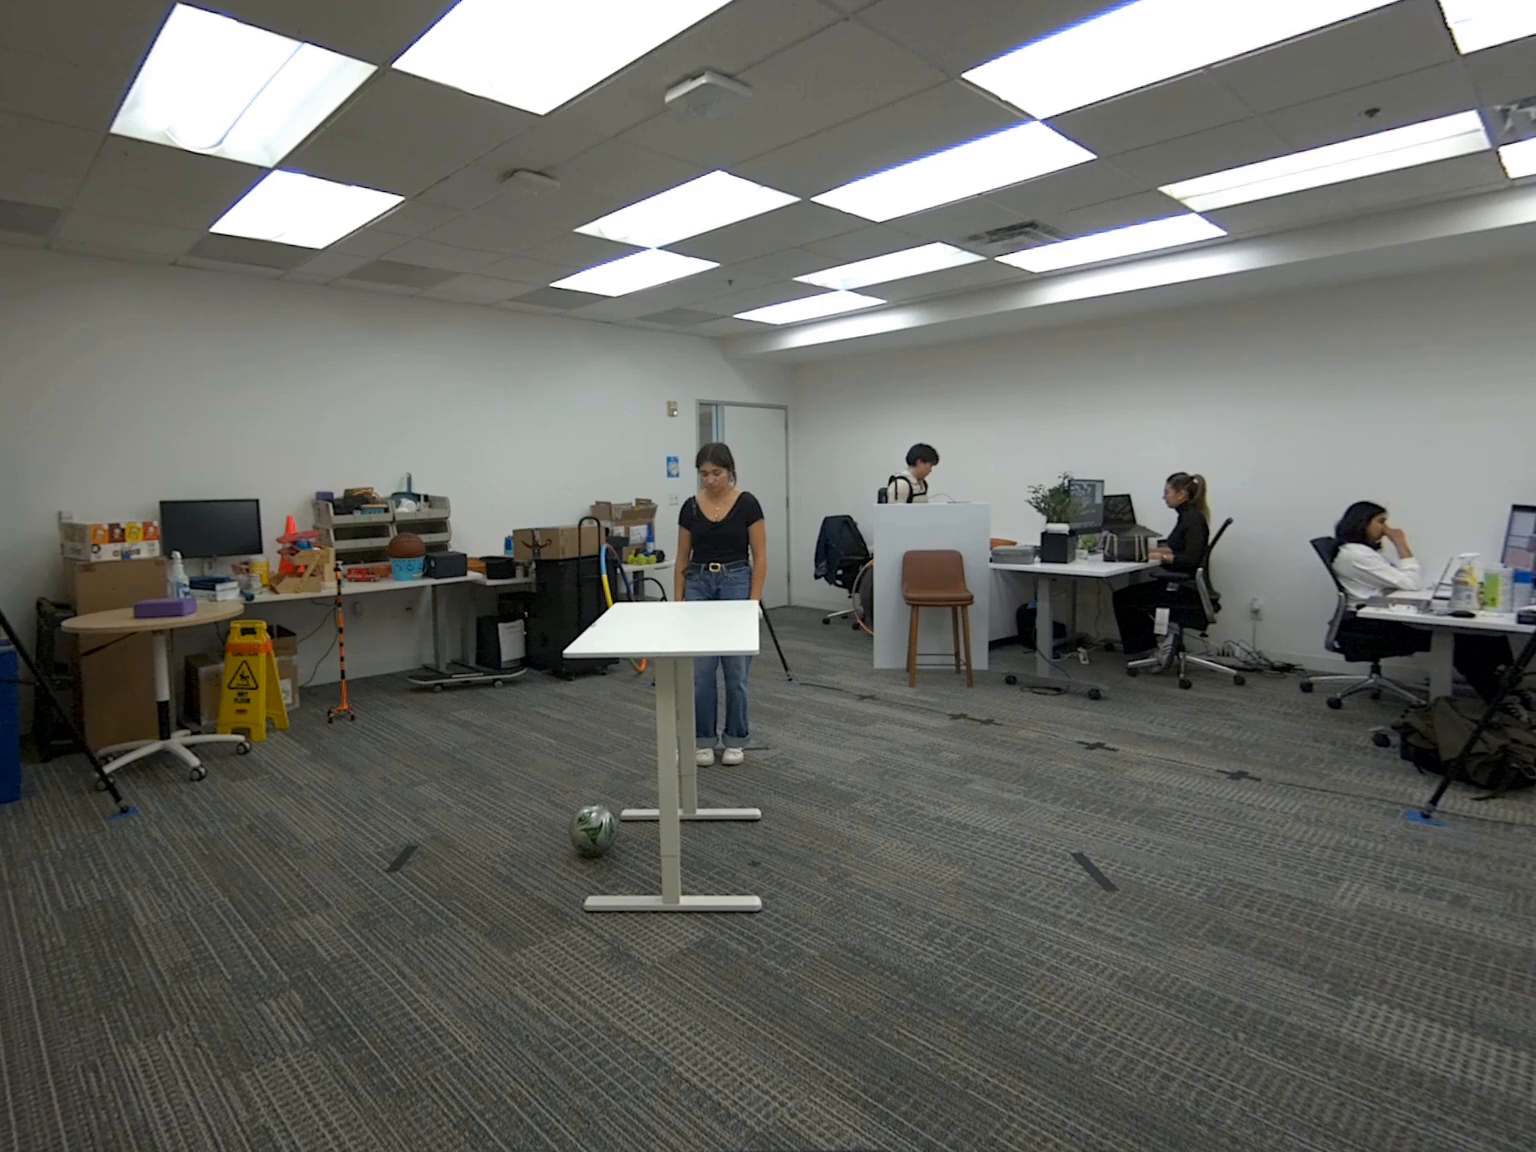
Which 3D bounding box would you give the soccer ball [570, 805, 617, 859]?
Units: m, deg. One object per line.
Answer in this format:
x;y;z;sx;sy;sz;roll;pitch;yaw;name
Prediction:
-0.654;0.954;3.216;0.187;0.187;0.188;-1;5;-2;soccer ball
